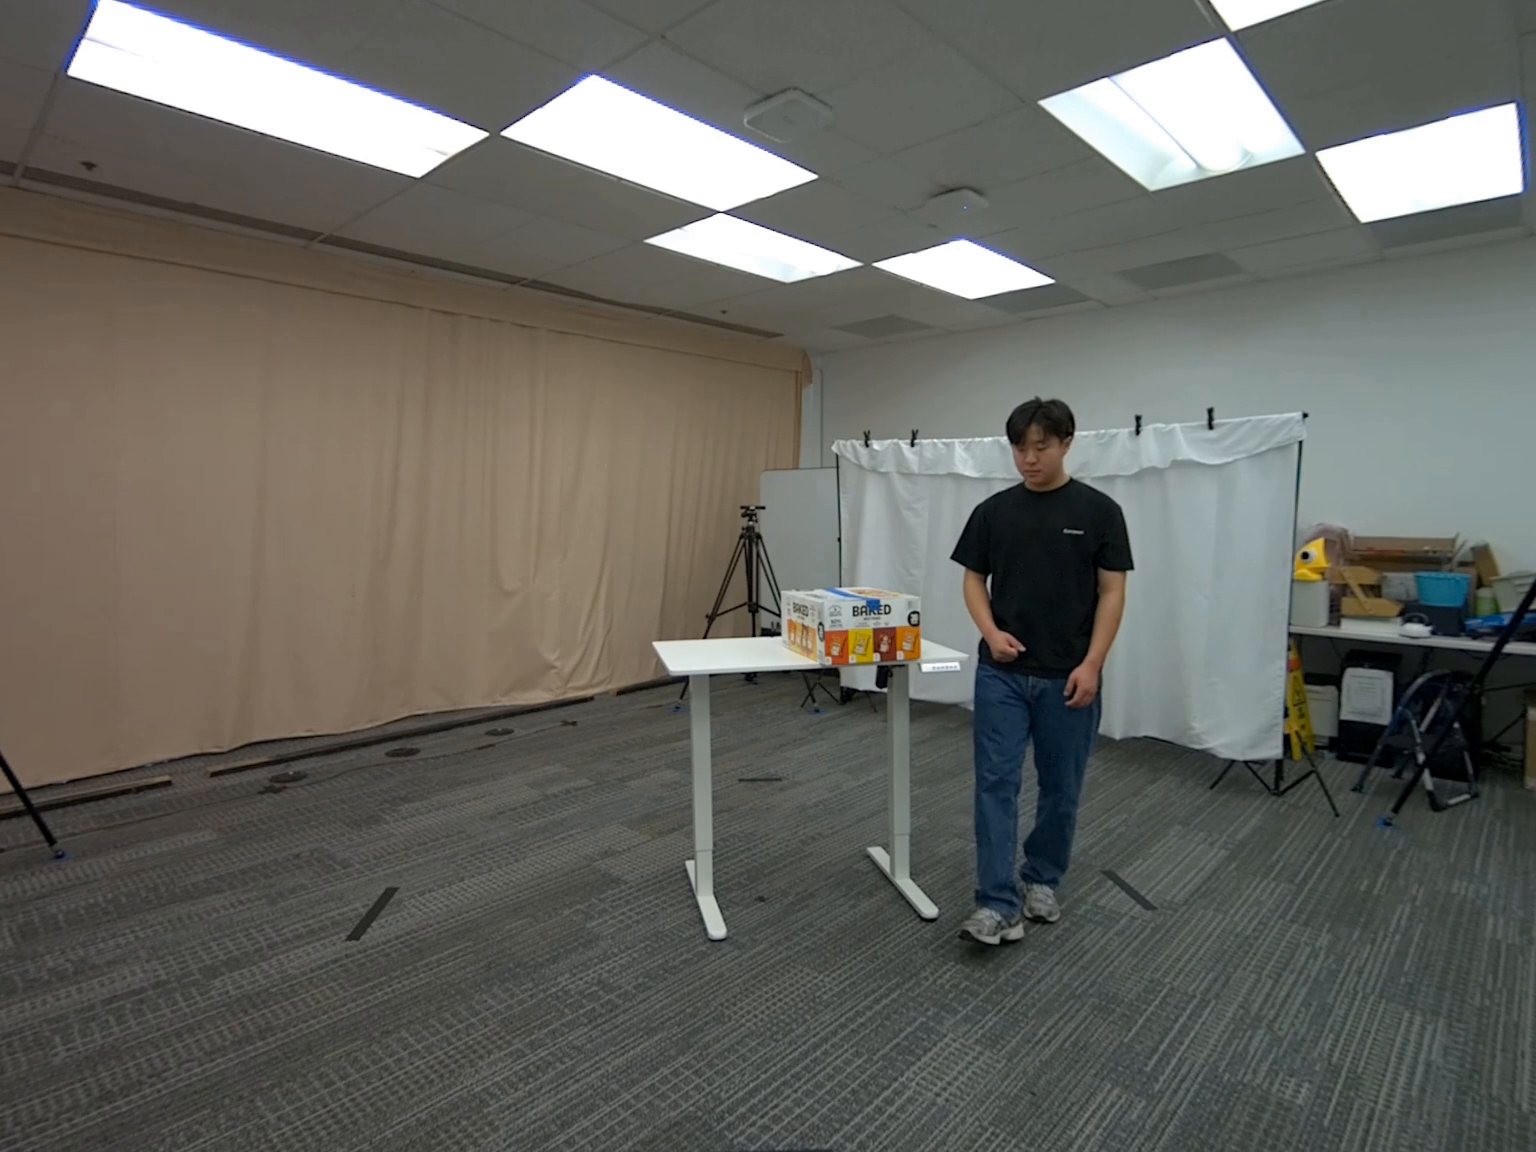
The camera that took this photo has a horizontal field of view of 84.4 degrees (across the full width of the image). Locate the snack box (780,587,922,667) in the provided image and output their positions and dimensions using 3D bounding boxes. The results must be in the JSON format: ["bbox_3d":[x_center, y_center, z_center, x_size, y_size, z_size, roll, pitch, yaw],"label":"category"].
[{"bbox_3d":[0.278,0.165,2.894,0.335,0.205,0.413,-2,4,-17],"label":"snack box"}]
